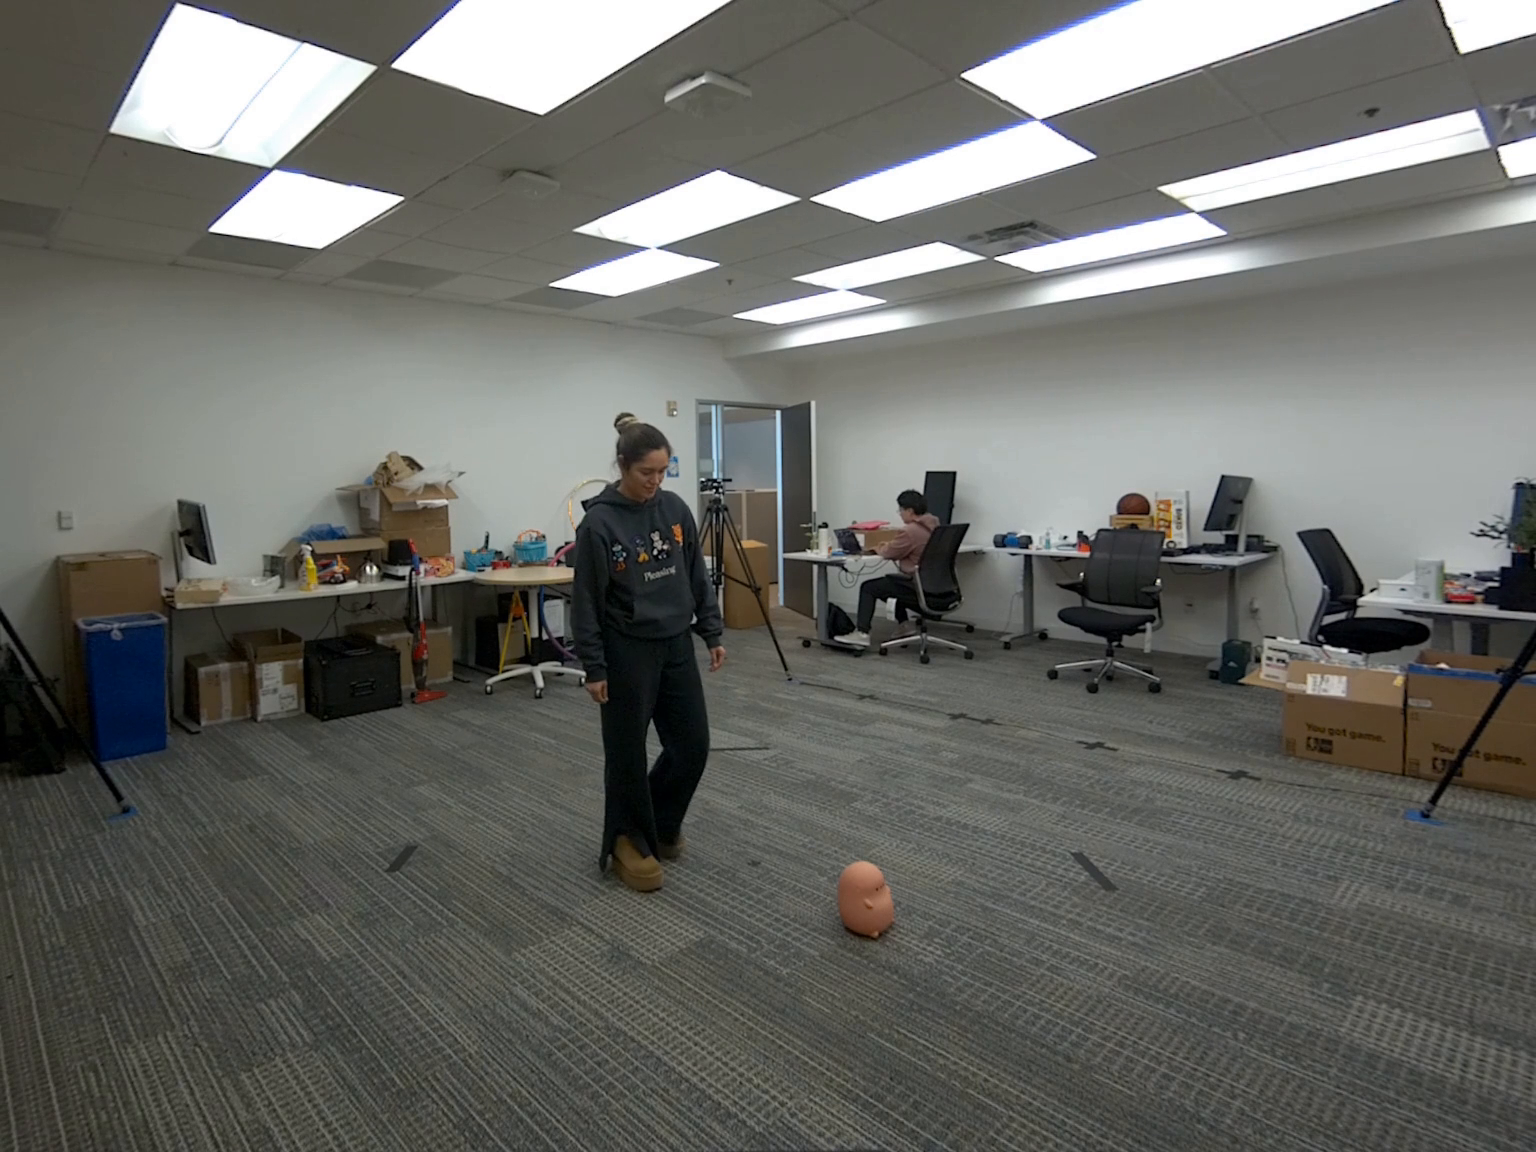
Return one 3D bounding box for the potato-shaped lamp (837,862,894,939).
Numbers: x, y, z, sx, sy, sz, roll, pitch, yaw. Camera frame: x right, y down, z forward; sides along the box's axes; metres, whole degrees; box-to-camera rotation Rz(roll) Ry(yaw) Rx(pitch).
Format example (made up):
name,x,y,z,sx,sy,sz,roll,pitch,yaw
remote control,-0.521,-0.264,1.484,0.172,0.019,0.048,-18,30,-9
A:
name,x,y,z,sx,sy,sz,roll,pitch,yaw
potato-shaped lamp,0.304,0.994,2.637,0.177,0.197,0.161,4,8,39
